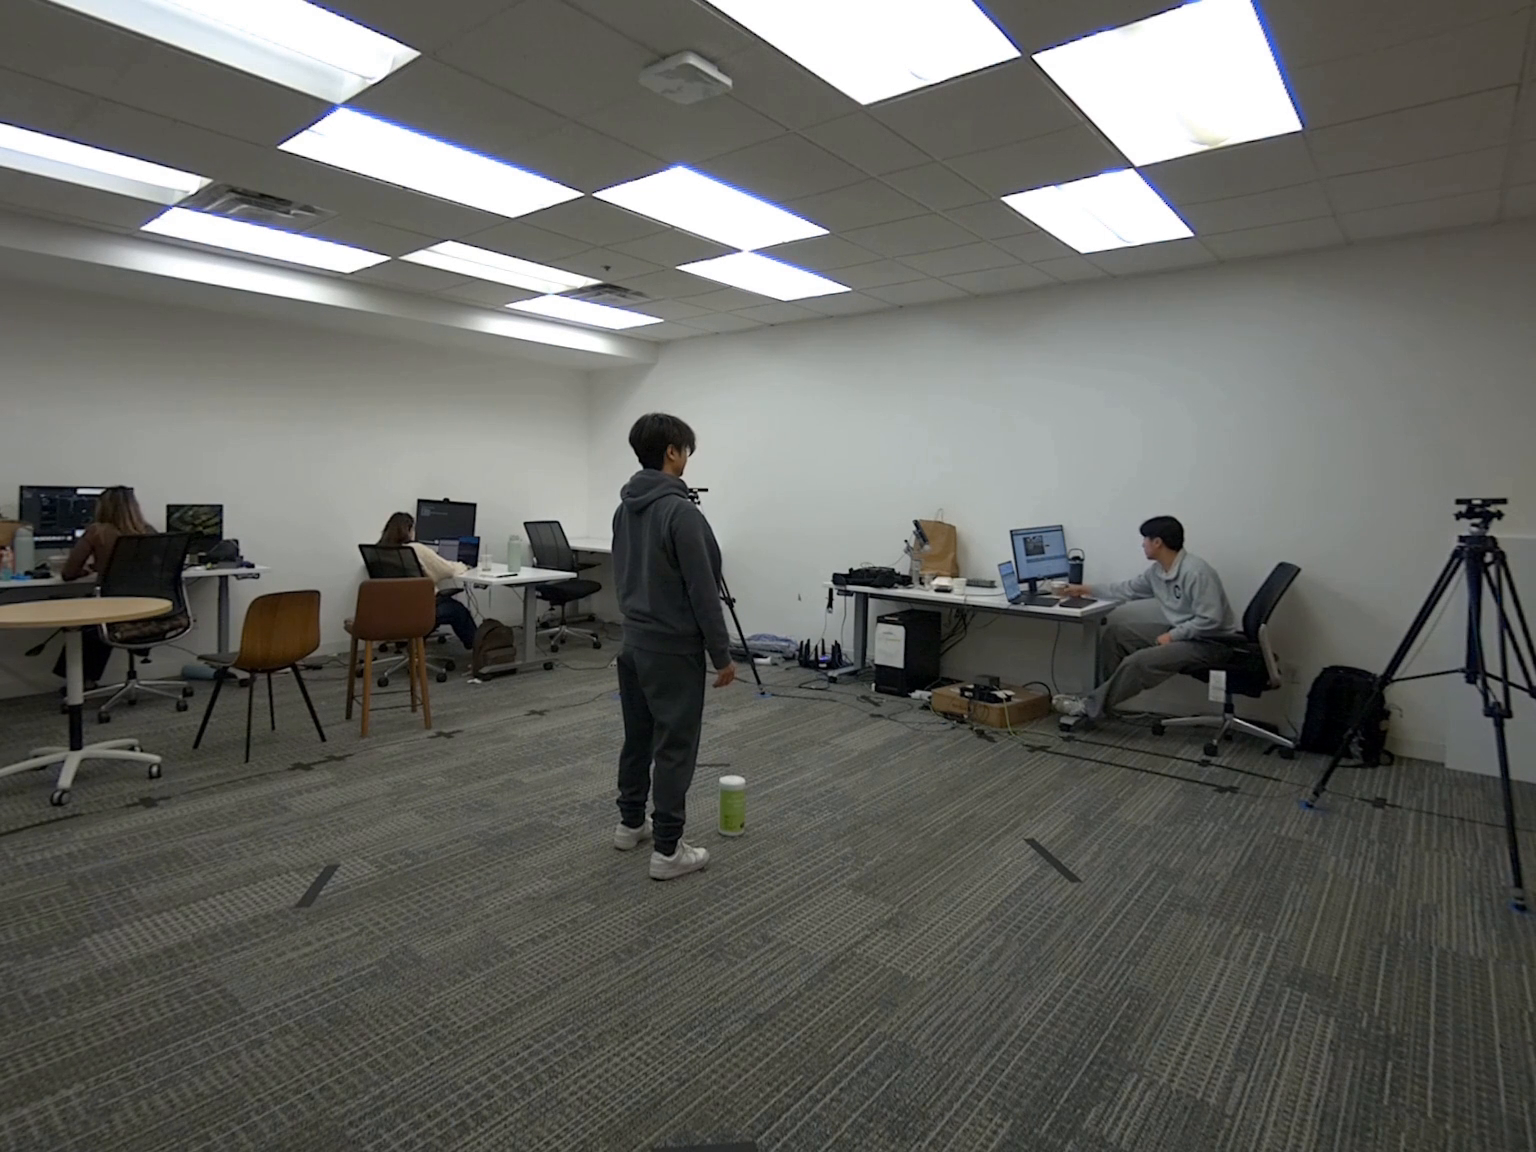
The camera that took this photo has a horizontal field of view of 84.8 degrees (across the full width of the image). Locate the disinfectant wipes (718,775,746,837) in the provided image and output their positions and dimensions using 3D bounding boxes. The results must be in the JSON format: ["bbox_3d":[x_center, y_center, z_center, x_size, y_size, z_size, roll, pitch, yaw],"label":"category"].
[{"bbox_3d":[-0.161,0.933,3.459,0.117,0.217,0.118,2,4,-2],"label":"disinfectant wipes"}]
